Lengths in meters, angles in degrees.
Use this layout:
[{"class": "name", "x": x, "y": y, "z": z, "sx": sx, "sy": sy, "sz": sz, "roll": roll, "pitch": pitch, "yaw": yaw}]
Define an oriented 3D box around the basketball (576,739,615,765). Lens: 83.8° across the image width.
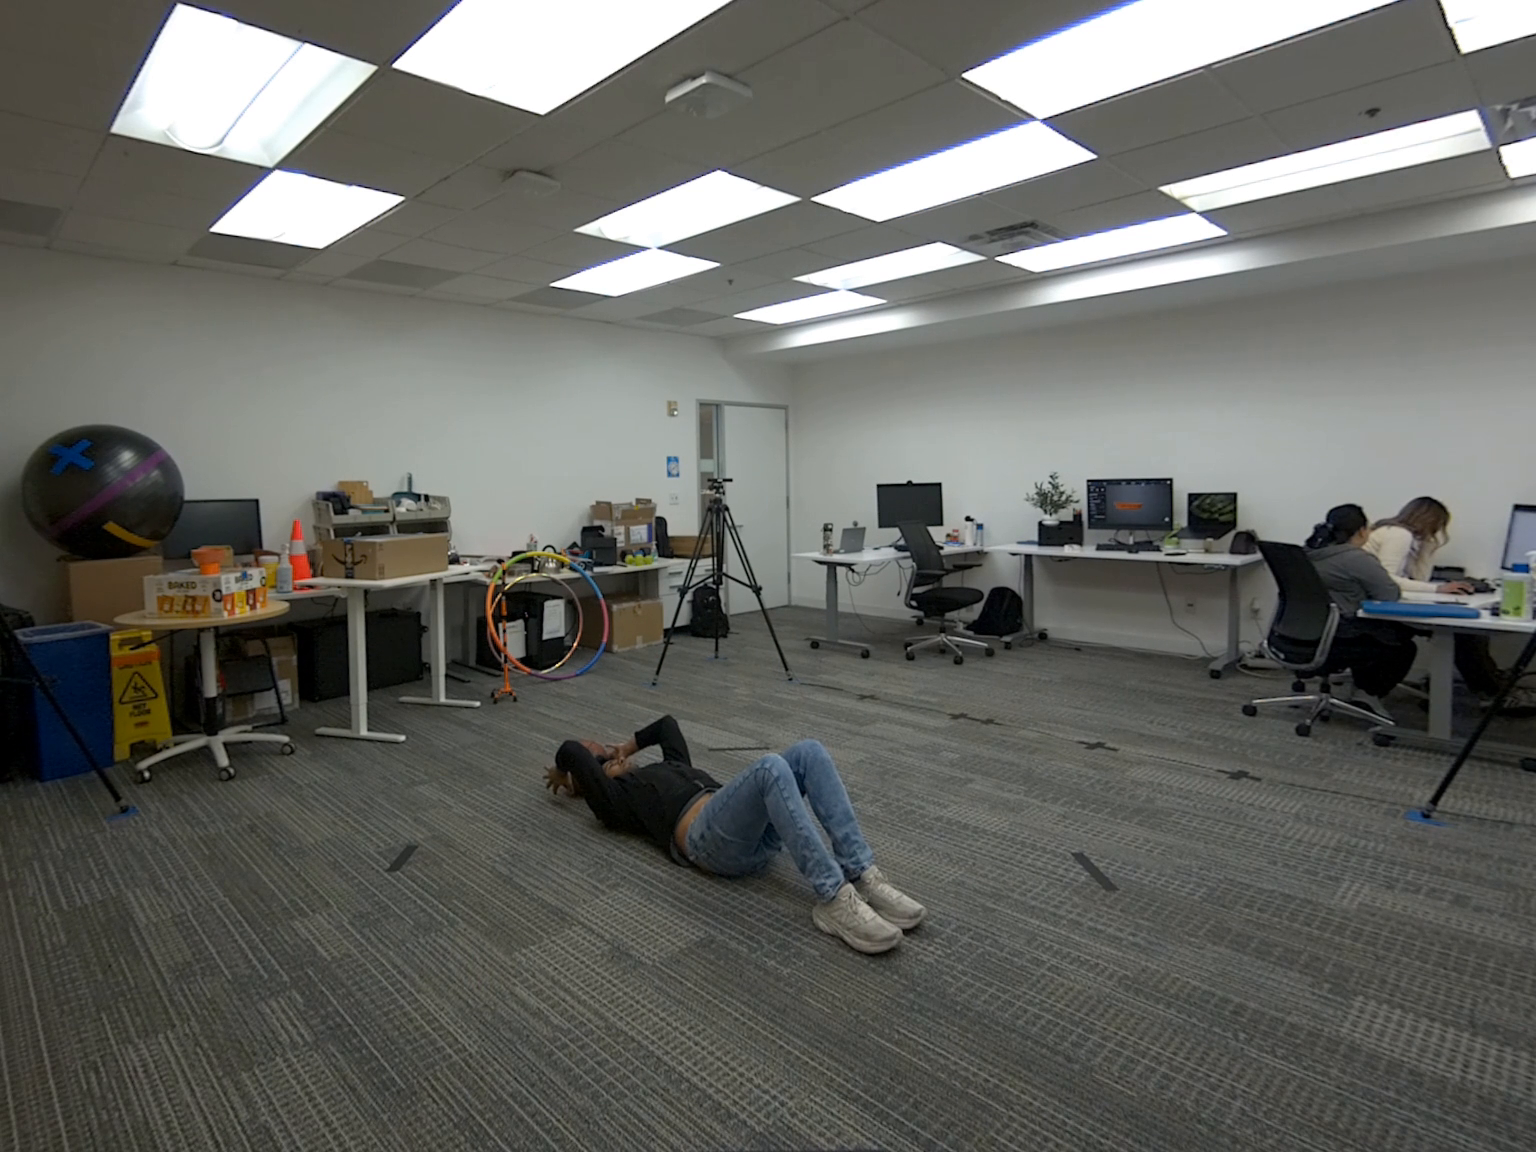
[{"class": "basketball", "x": -0.827, "y": 0.860, "z": 3.846, "sx": 0.236, "sy": 0.235, "sz": 0.237, "roll": -1, "pitch": 5, "yaw": -2}]
